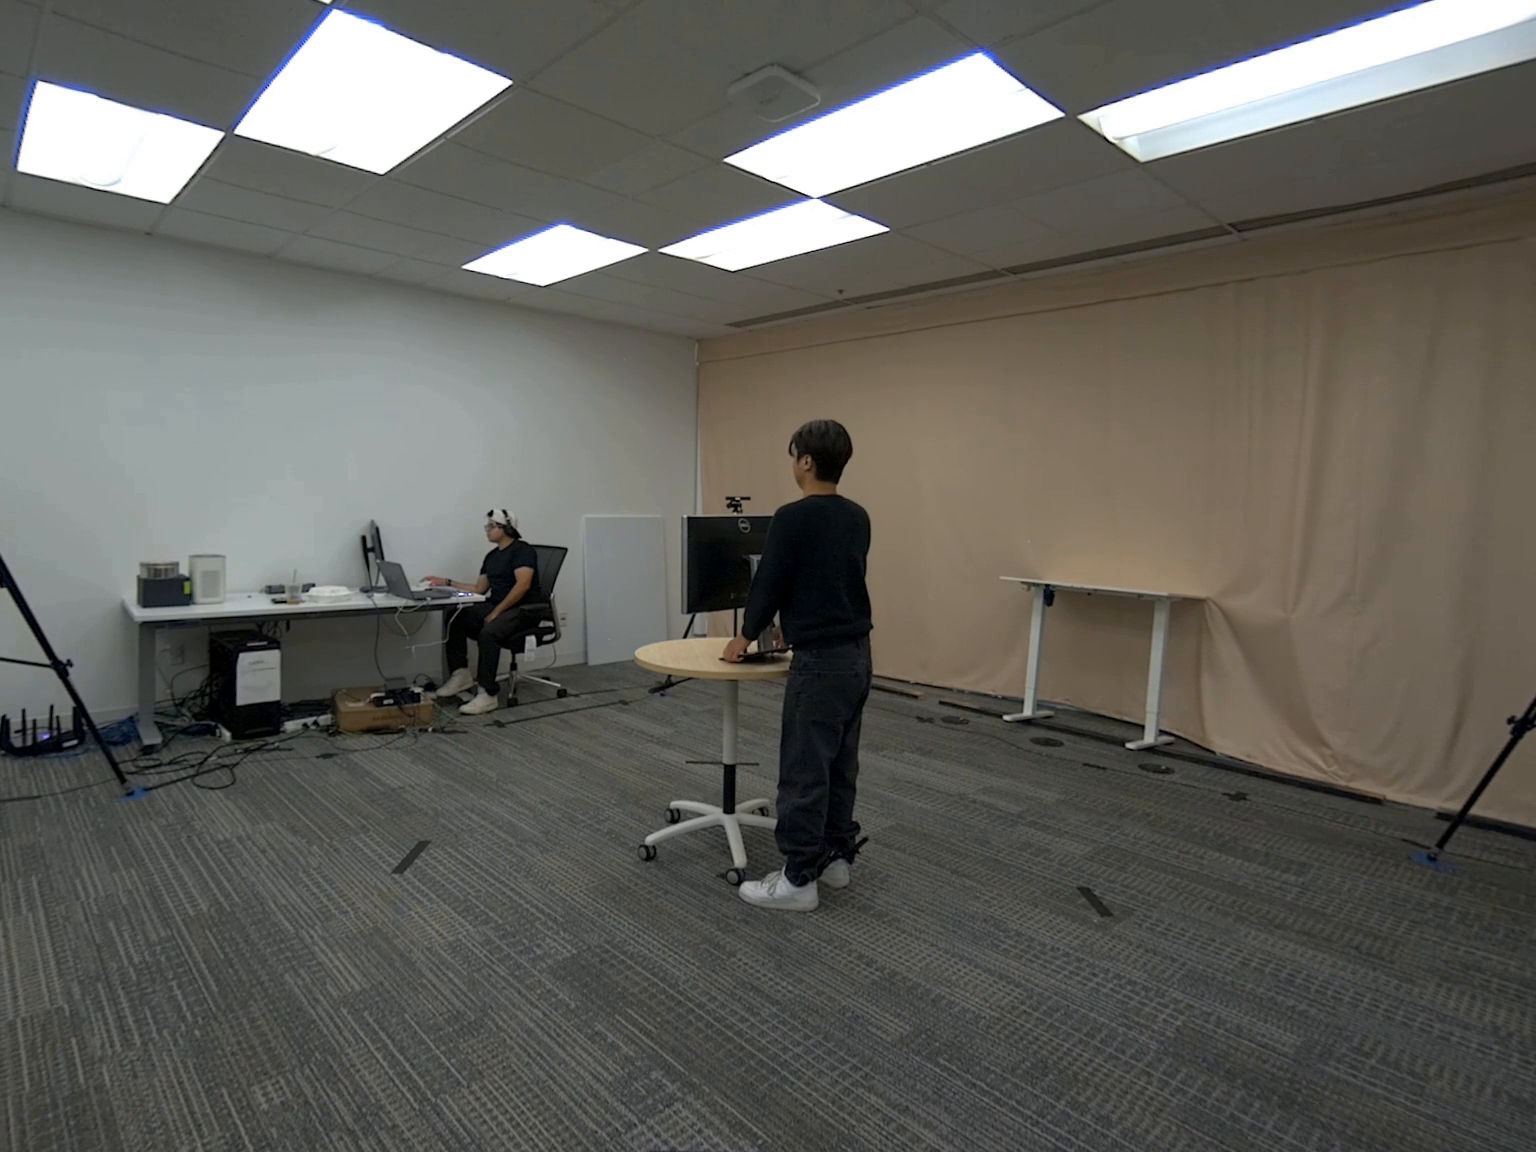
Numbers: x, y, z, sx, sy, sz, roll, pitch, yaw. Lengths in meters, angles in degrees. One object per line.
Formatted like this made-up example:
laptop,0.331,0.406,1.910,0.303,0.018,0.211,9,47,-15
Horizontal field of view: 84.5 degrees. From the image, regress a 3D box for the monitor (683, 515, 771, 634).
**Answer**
monitor,-0.083,0.033,3.222,0.190,0.525,0.527,-14,-8,43
